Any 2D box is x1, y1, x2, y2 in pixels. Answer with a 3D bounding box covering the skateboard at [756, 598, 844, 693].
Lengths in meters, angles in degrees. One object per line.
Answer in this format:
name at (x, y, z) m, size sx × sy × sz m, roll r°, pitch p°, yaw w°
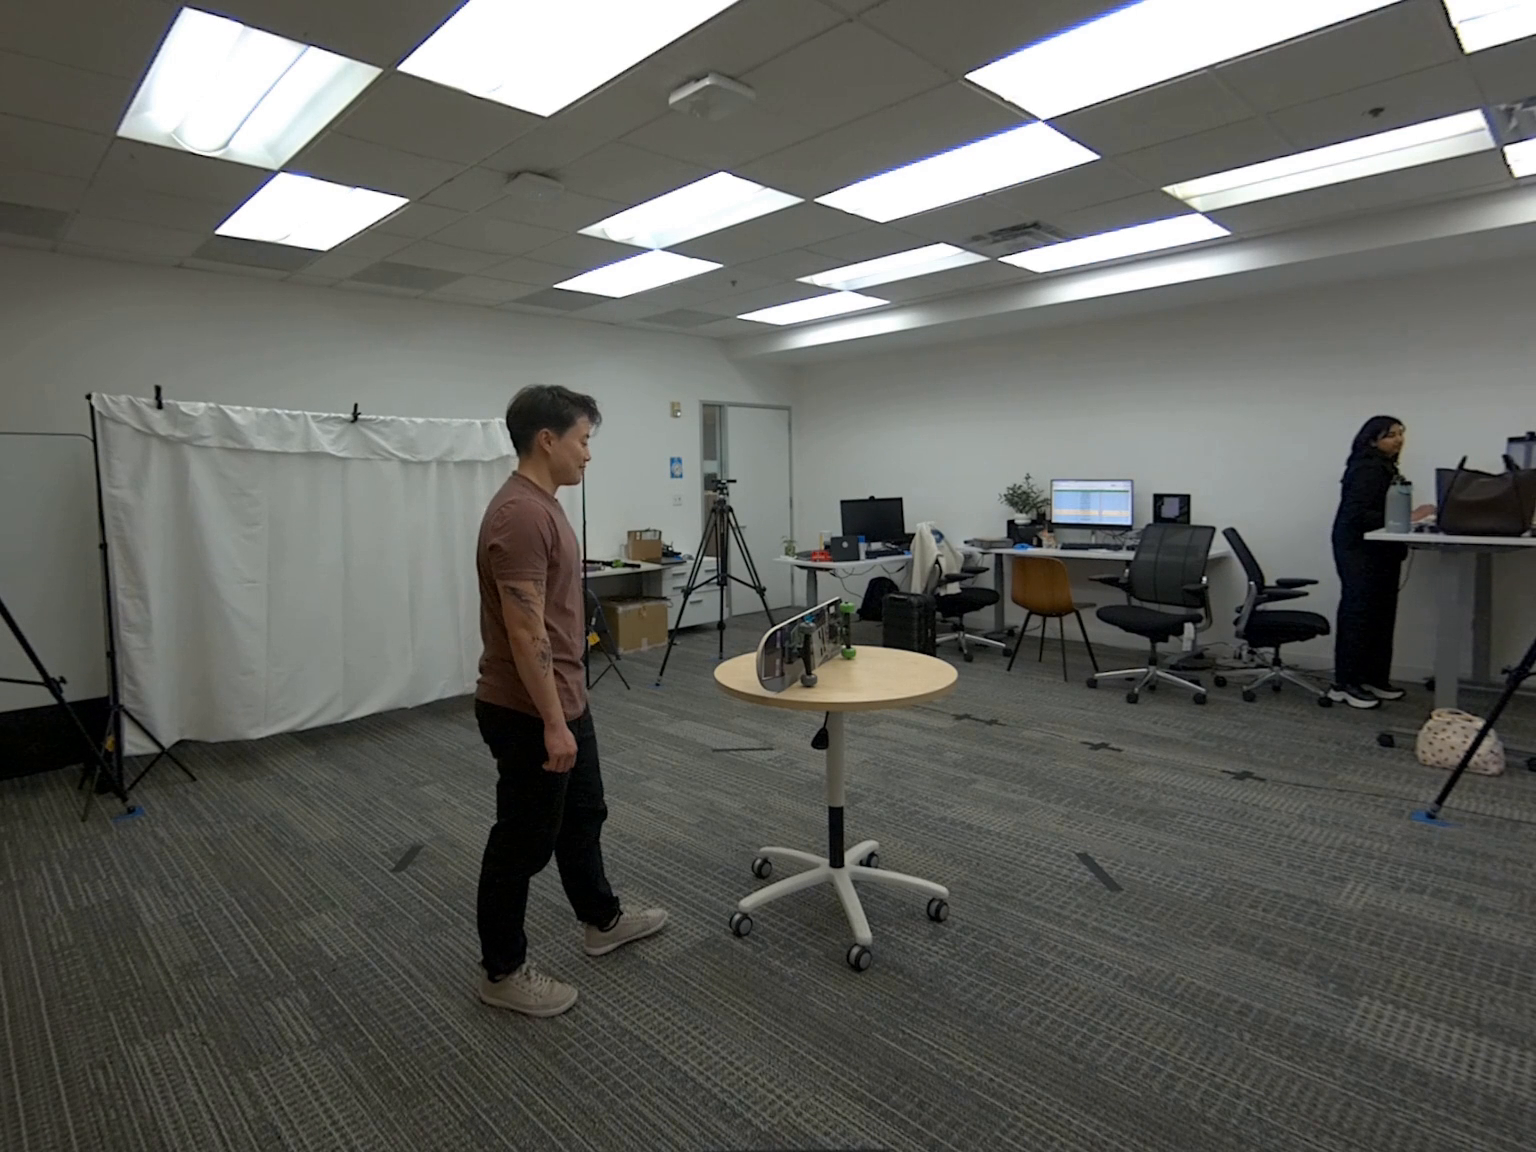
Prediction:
skateboard at (0.167, 0.206, 2.724) m, size 0.113 × 0.192 × 0.772 m, roll 2°, pitch 8°, yaw 23°
